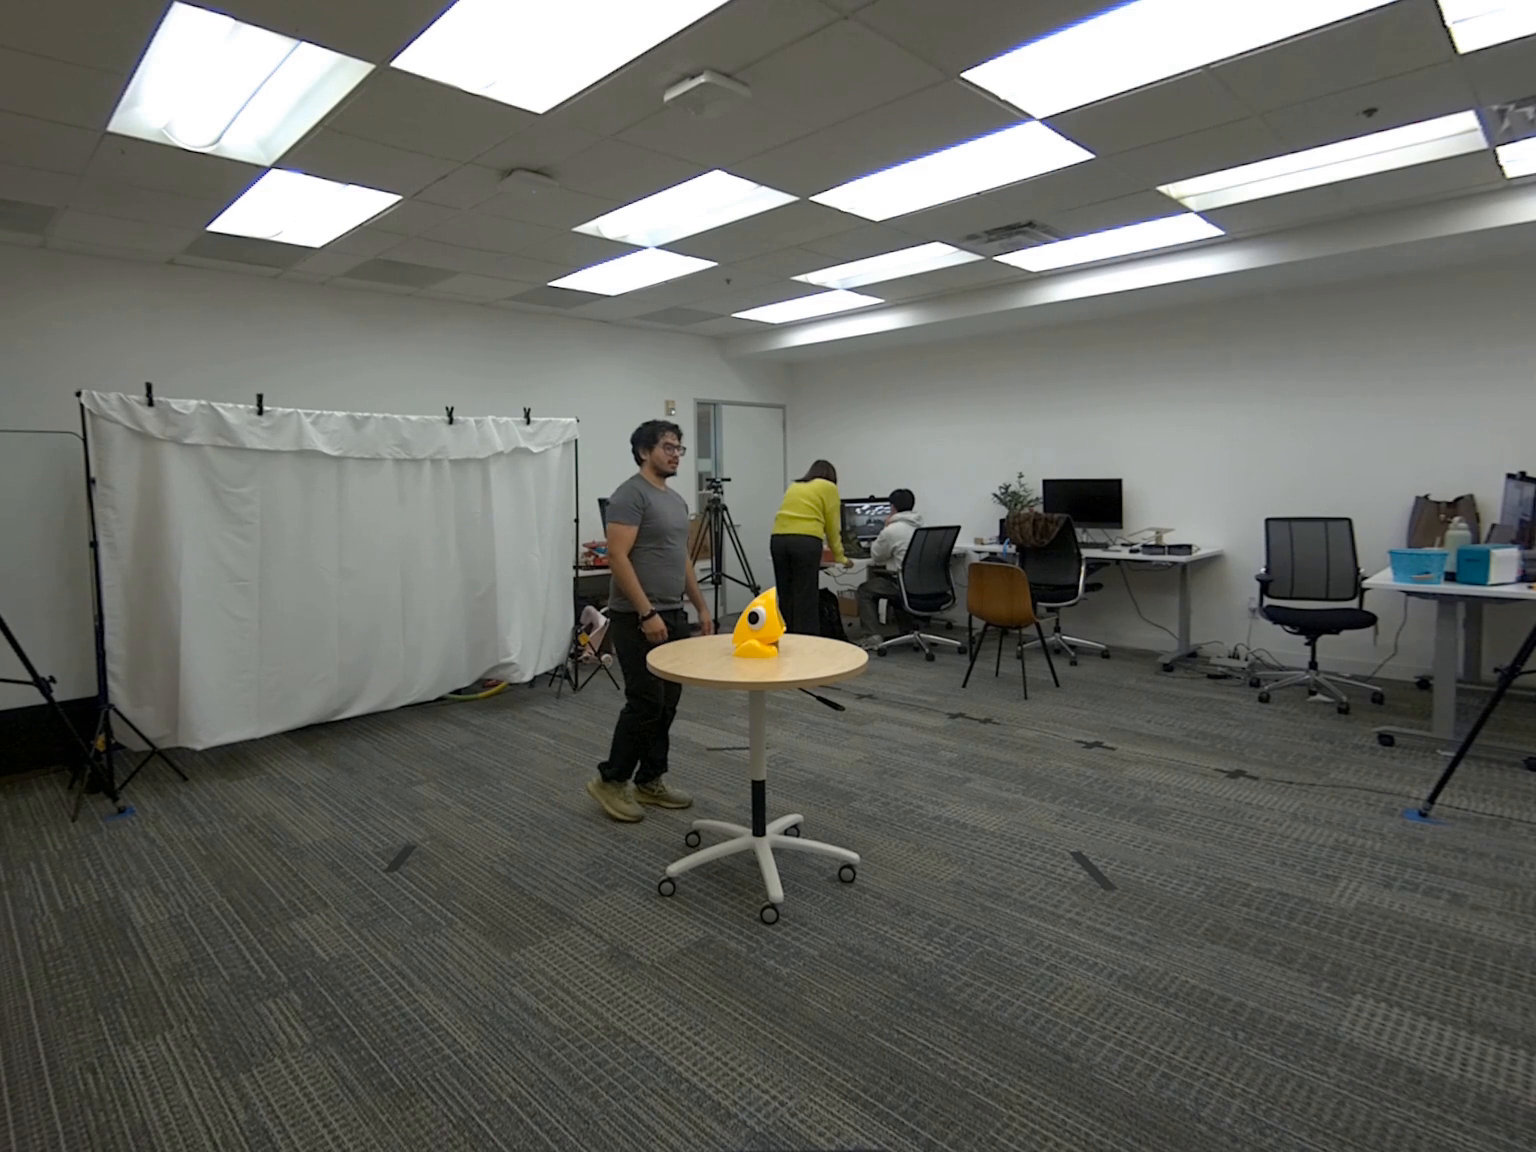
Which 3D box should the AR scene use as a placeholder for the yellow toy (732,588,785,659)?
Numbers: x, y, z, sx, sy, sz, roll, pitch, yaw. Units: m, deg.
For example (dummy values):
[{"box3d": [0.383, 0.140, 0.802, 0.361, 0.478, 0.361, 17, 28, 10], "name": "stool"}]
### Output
[{"box3d": [-0.030, 0.154, 3.005, 0.194, 0.230, 0.205, -1, 5, 5], "name": "yellow toy"}]
